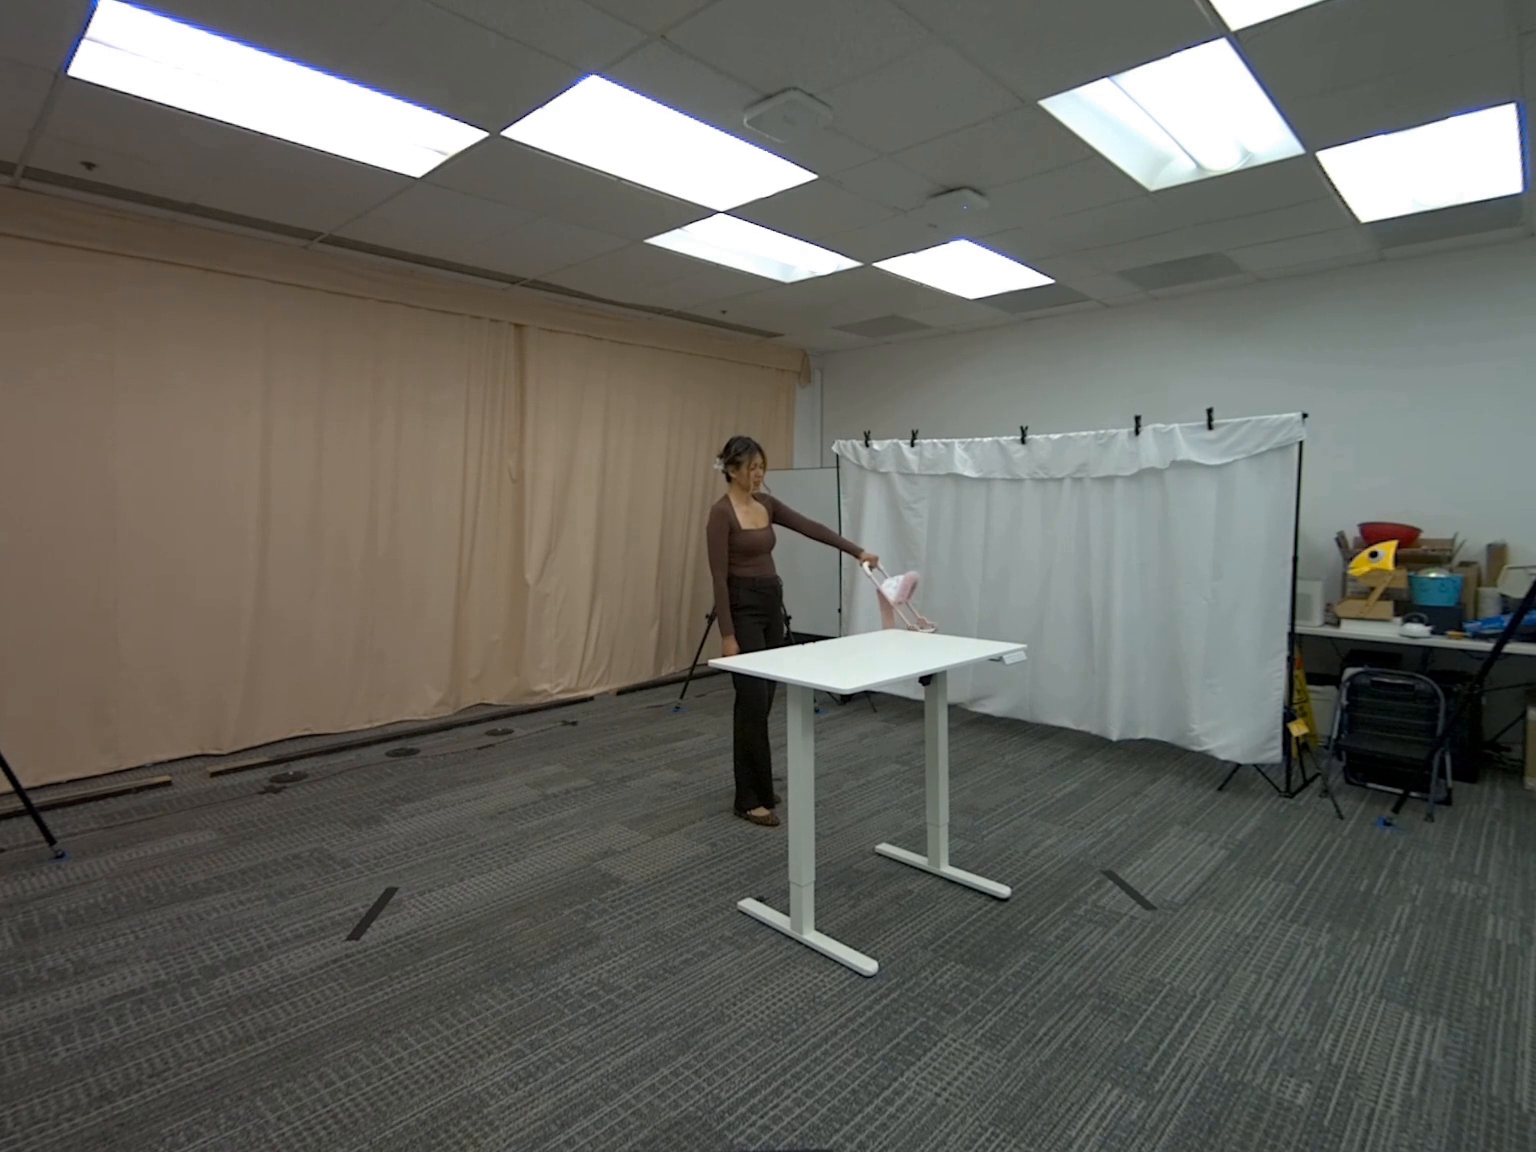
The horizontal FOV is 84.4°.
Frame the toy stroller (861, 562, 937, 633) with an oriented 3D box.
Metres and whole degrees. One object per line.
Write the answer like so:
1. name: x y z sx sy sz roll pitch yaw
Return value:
1. toy stroller: 0.592 0.210 3.729 0.351 0.533 0.274 5 7 28
